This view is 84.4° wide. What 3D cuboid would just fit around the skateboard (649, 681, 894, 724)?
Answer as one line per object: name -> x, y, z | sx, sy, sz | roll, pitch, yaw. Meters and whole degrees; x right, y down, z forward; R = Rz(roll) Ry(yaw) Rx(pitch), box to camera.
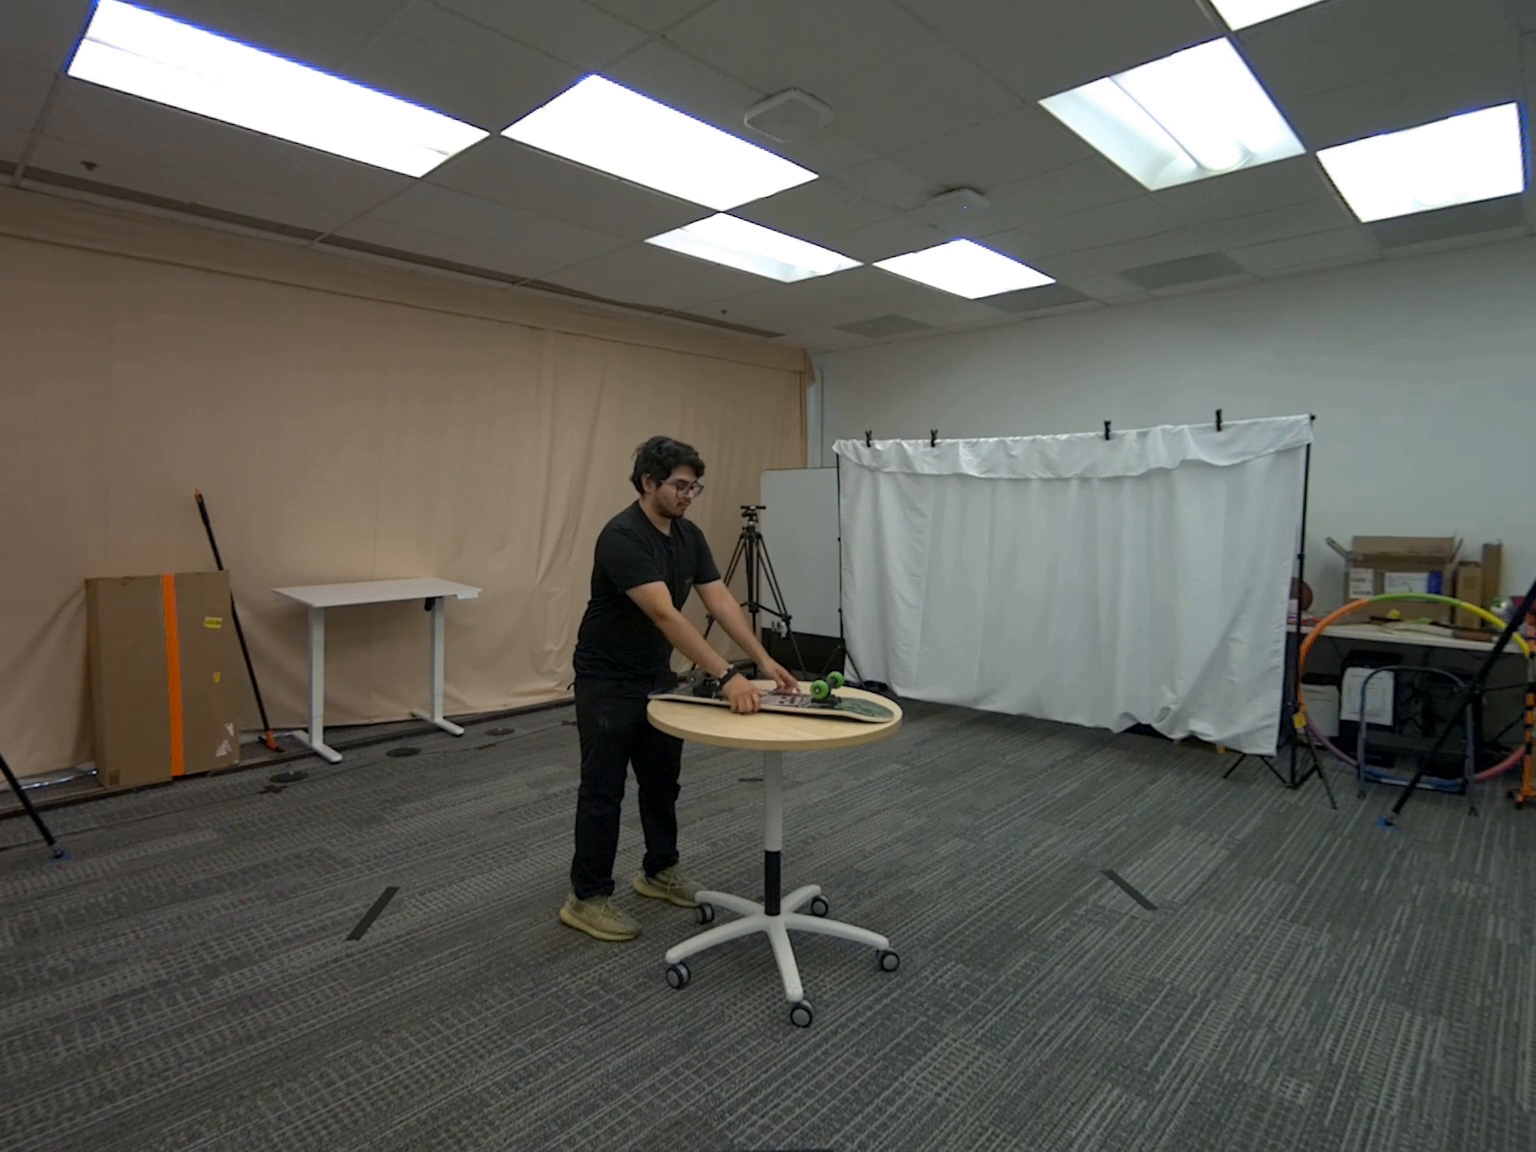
skateboard -> -0.001, 0.352, 2.537 | 0.806, 0.110, 0.188 | 1, 2, 27
